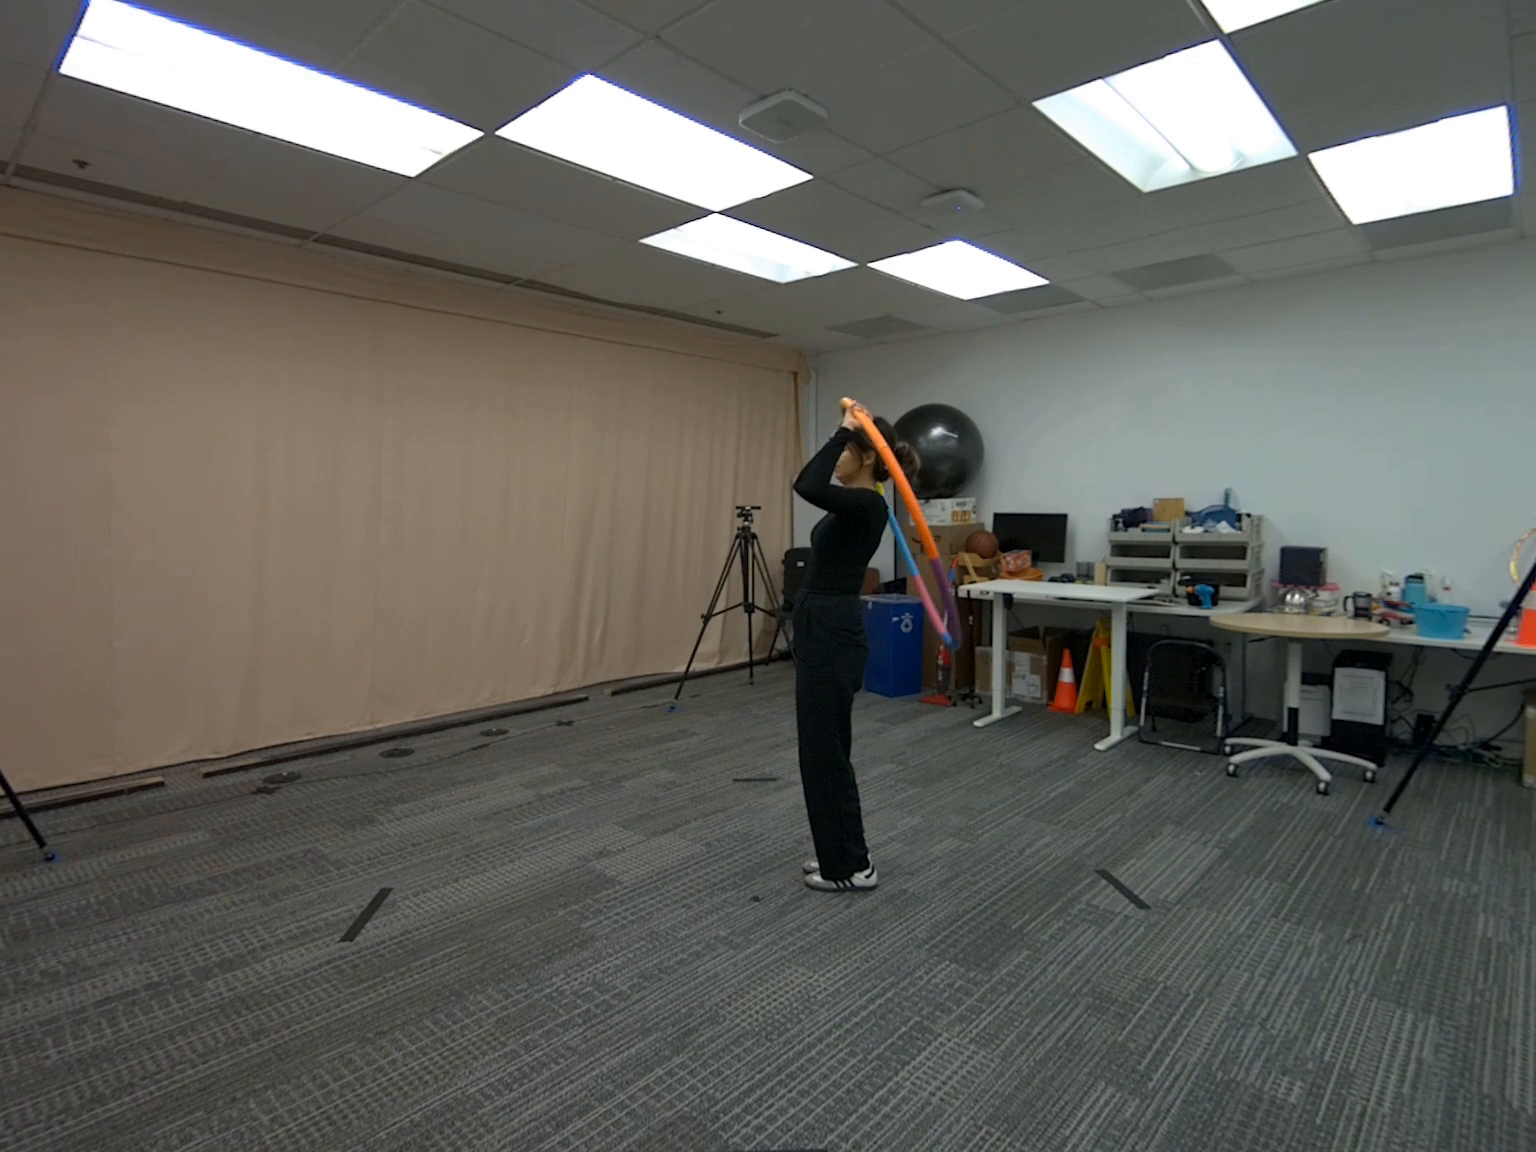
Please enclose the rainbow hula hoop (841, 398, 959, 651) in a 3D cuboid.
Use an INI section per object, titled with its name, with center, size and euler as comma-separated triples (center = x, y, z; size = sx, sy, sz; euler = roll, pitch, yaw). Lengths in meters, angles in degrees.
[rainbow hula hoop]
center = 0.479, -0.202, 3.029
size = 0.036, 0.979, 0.974
euler = -24, 1, 6
